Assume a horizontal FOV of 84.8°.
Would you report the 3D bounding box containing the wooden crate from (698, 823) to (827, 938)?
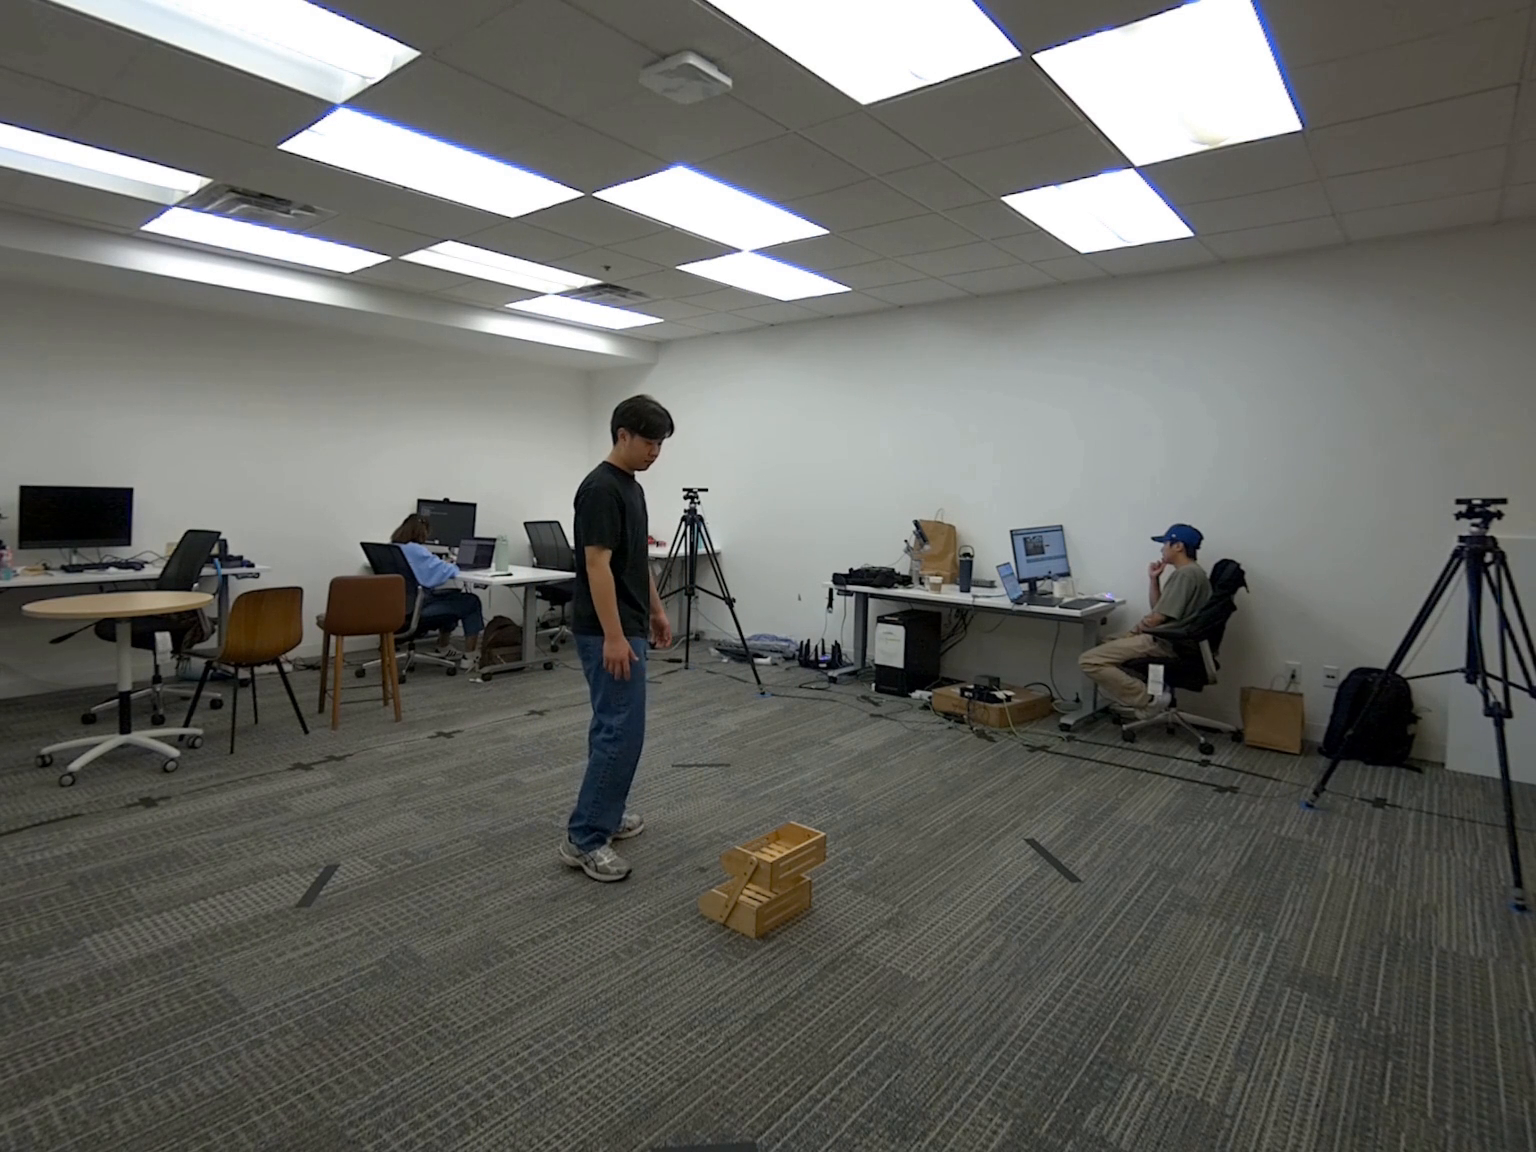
[{"bbox_3d":[-0.027,0.967,2.804,0.312,0.272,0.315,5,6,39],"label":"wooden crate"}]
